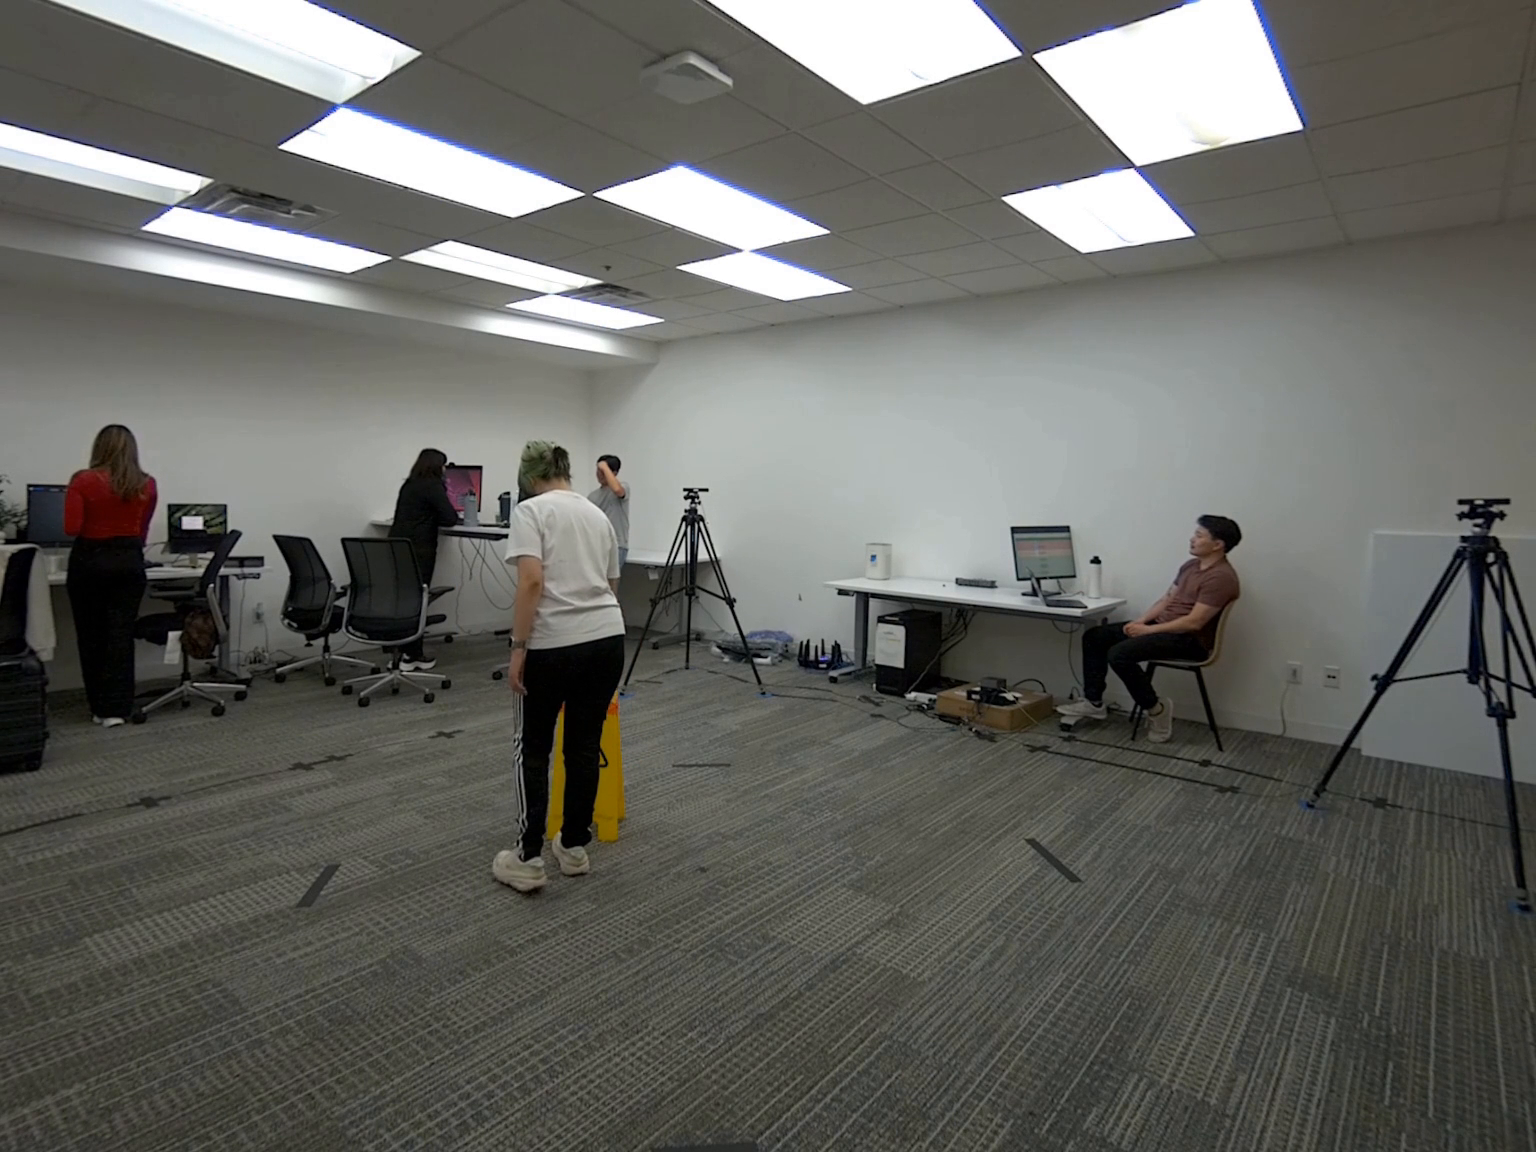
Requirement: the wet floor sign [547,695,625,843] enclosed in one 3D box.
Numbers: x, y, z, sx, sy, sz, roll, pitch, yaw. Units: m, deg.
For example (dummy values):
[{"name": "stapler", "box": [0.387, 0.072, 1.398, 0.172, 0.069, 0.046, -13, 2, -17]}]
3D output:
[{"name": "wet floor sign", "box": [-0.750, 0.707, 3.452, 0.282, 0.645, 0.290, 0, 2, -1]}]
